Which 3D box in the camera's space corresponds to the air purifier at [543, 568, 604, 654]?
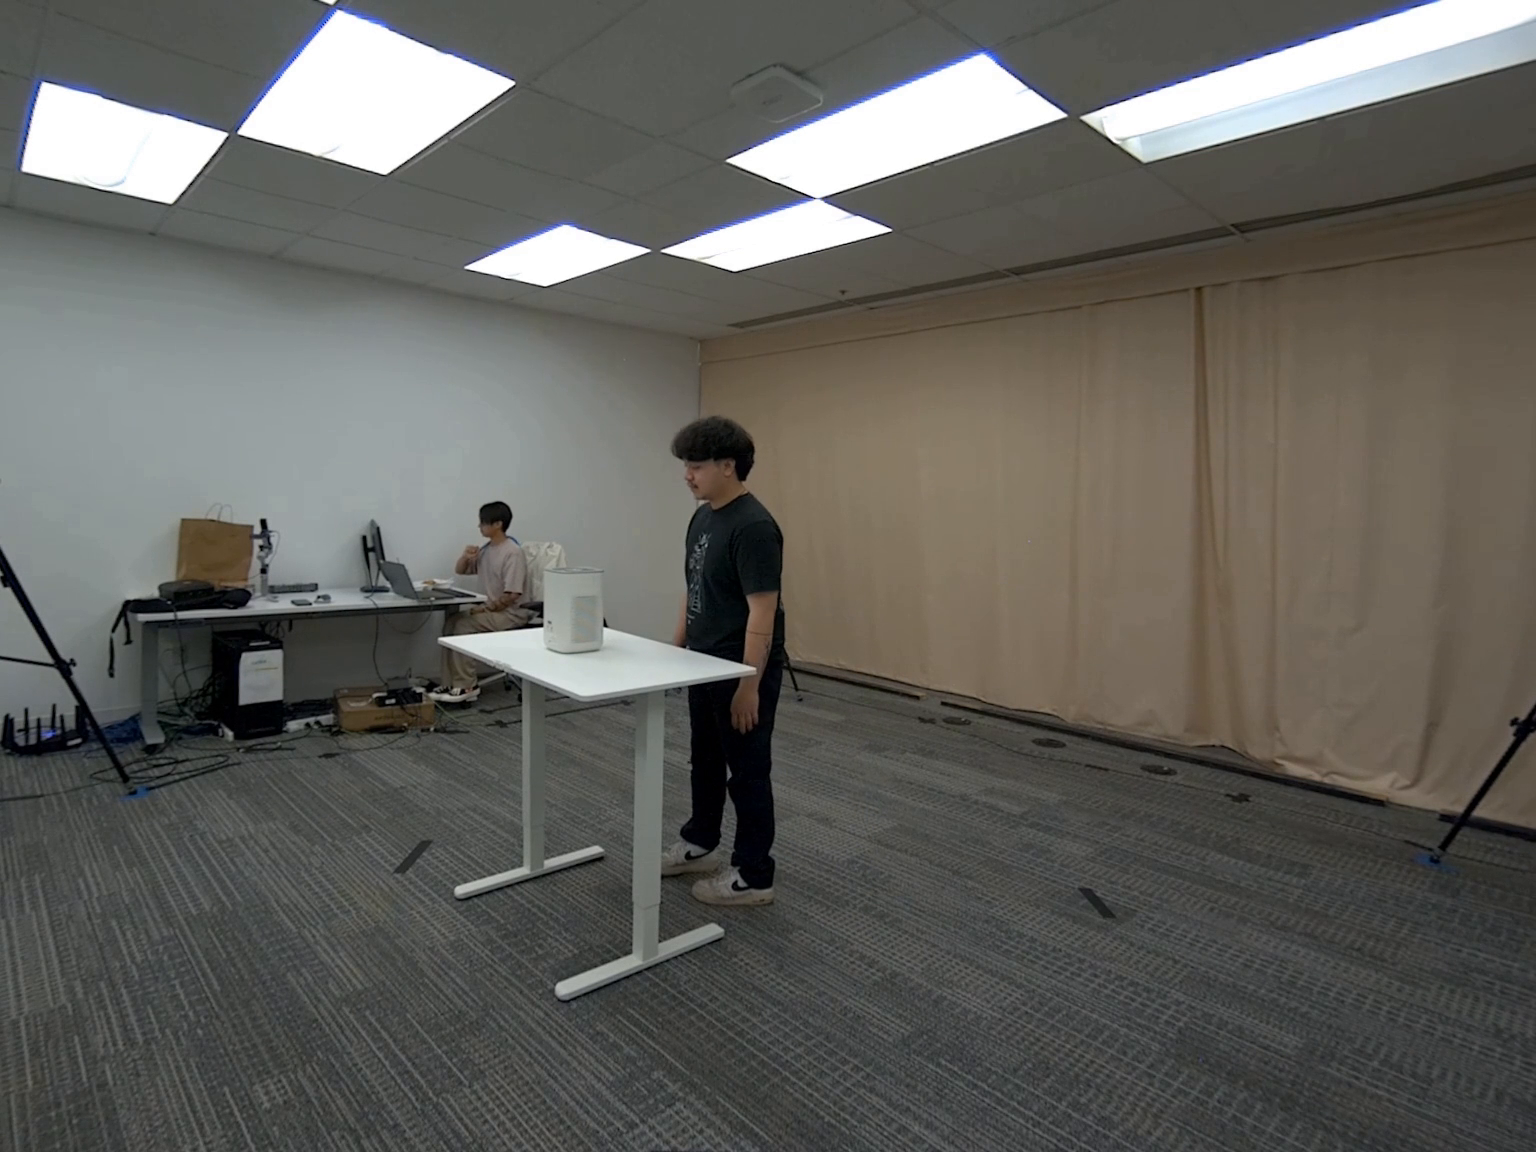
[{"bbox_3d":[-0.641,0.112,2.774,0.168,0.265,0.175,-1,5,-41],"label":"air purifier"}]
